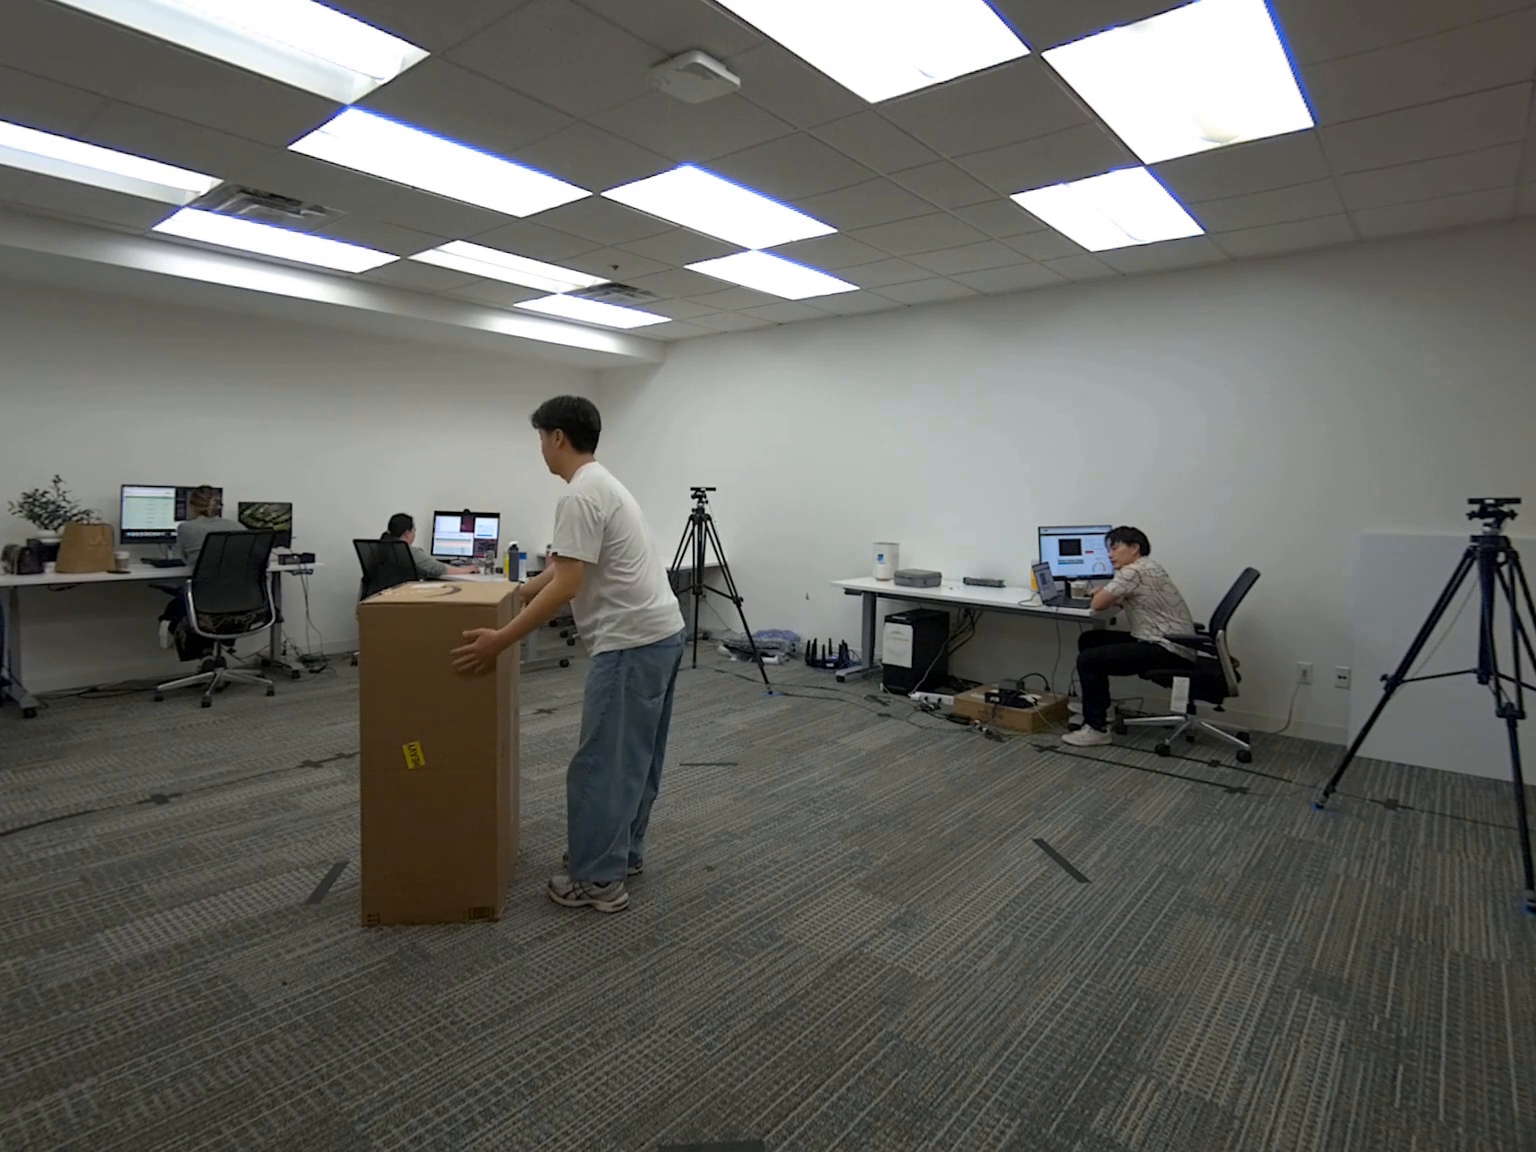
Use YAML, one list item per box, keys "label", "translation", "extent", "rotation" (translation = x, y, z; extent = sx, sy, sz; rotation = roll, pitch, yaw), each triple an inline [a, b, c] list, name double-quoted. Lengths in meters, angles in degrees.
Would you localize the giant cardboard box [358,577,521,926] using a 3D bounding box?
- label: "giant cardboard box"
  translation: [-1.118, 0.560, 2.935]
  extent: [0.423, 1.023, 0.584]
  rotation: [1, 4, -9]
